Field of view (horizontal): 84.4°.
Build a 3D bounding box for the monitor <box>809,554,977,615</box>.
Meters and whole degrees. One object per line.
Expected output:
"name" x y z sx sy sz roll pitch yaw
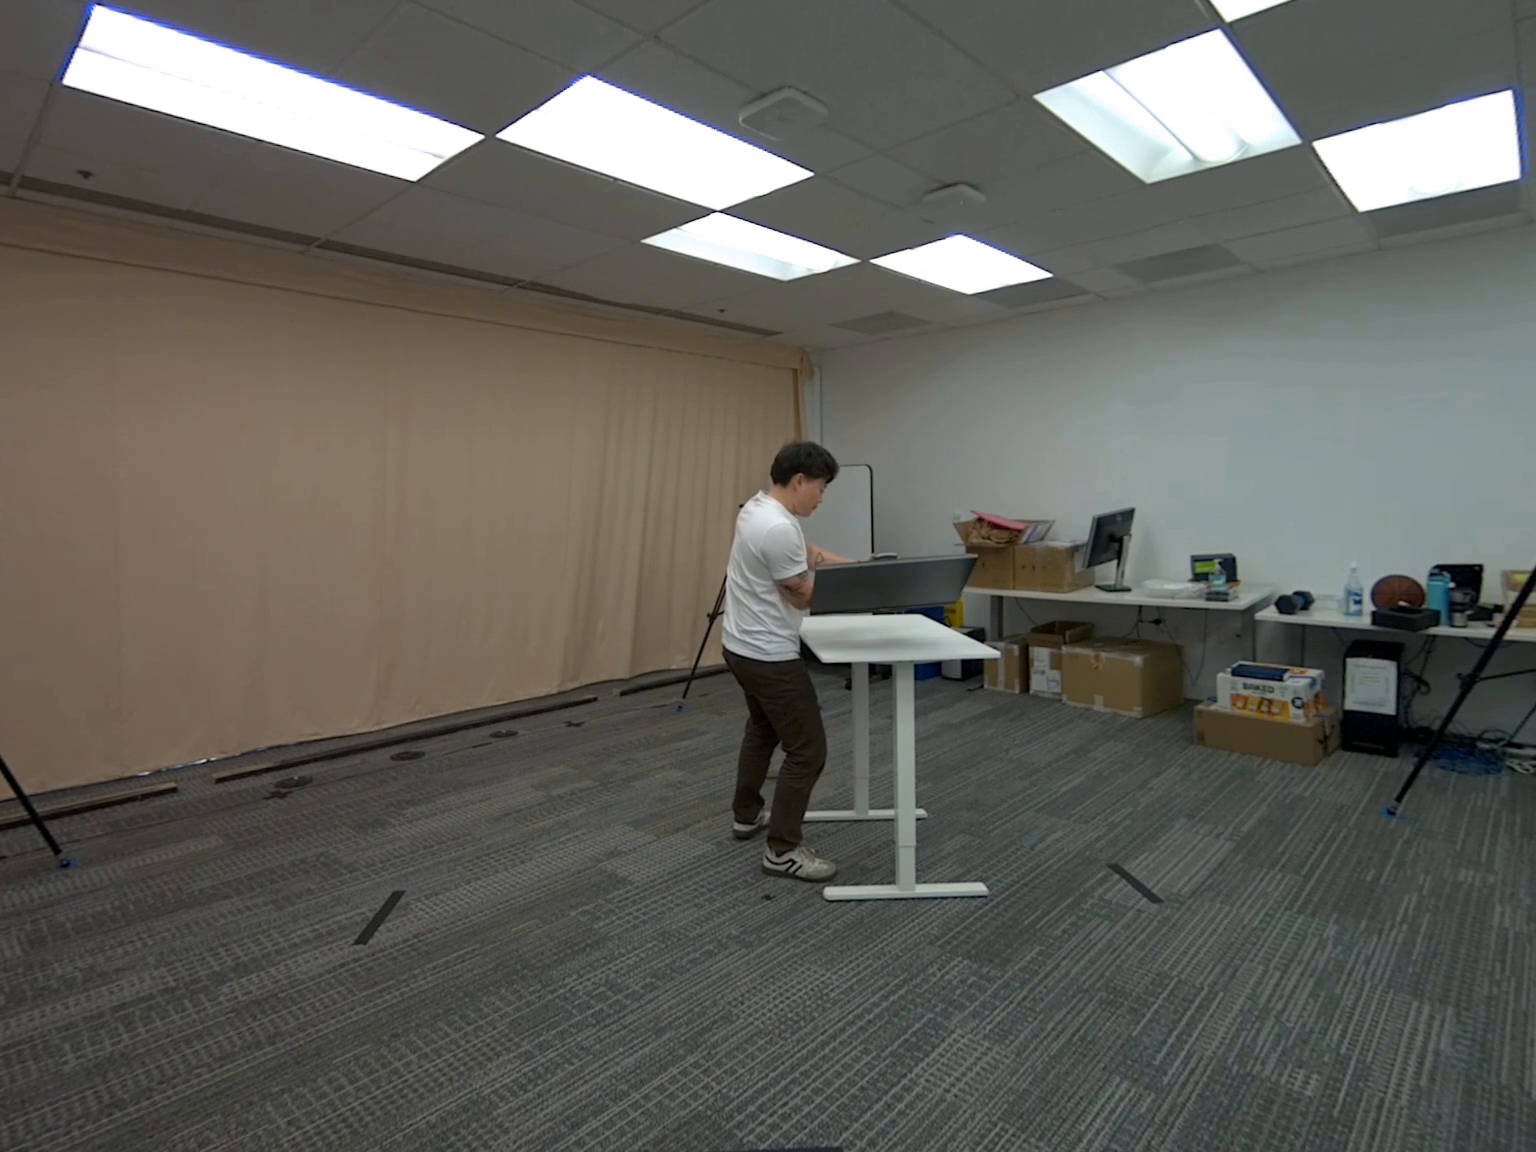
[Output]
"monitor" 0.415 0.034 3.007 0.538 0.189 0.517 -6 -16 -3
